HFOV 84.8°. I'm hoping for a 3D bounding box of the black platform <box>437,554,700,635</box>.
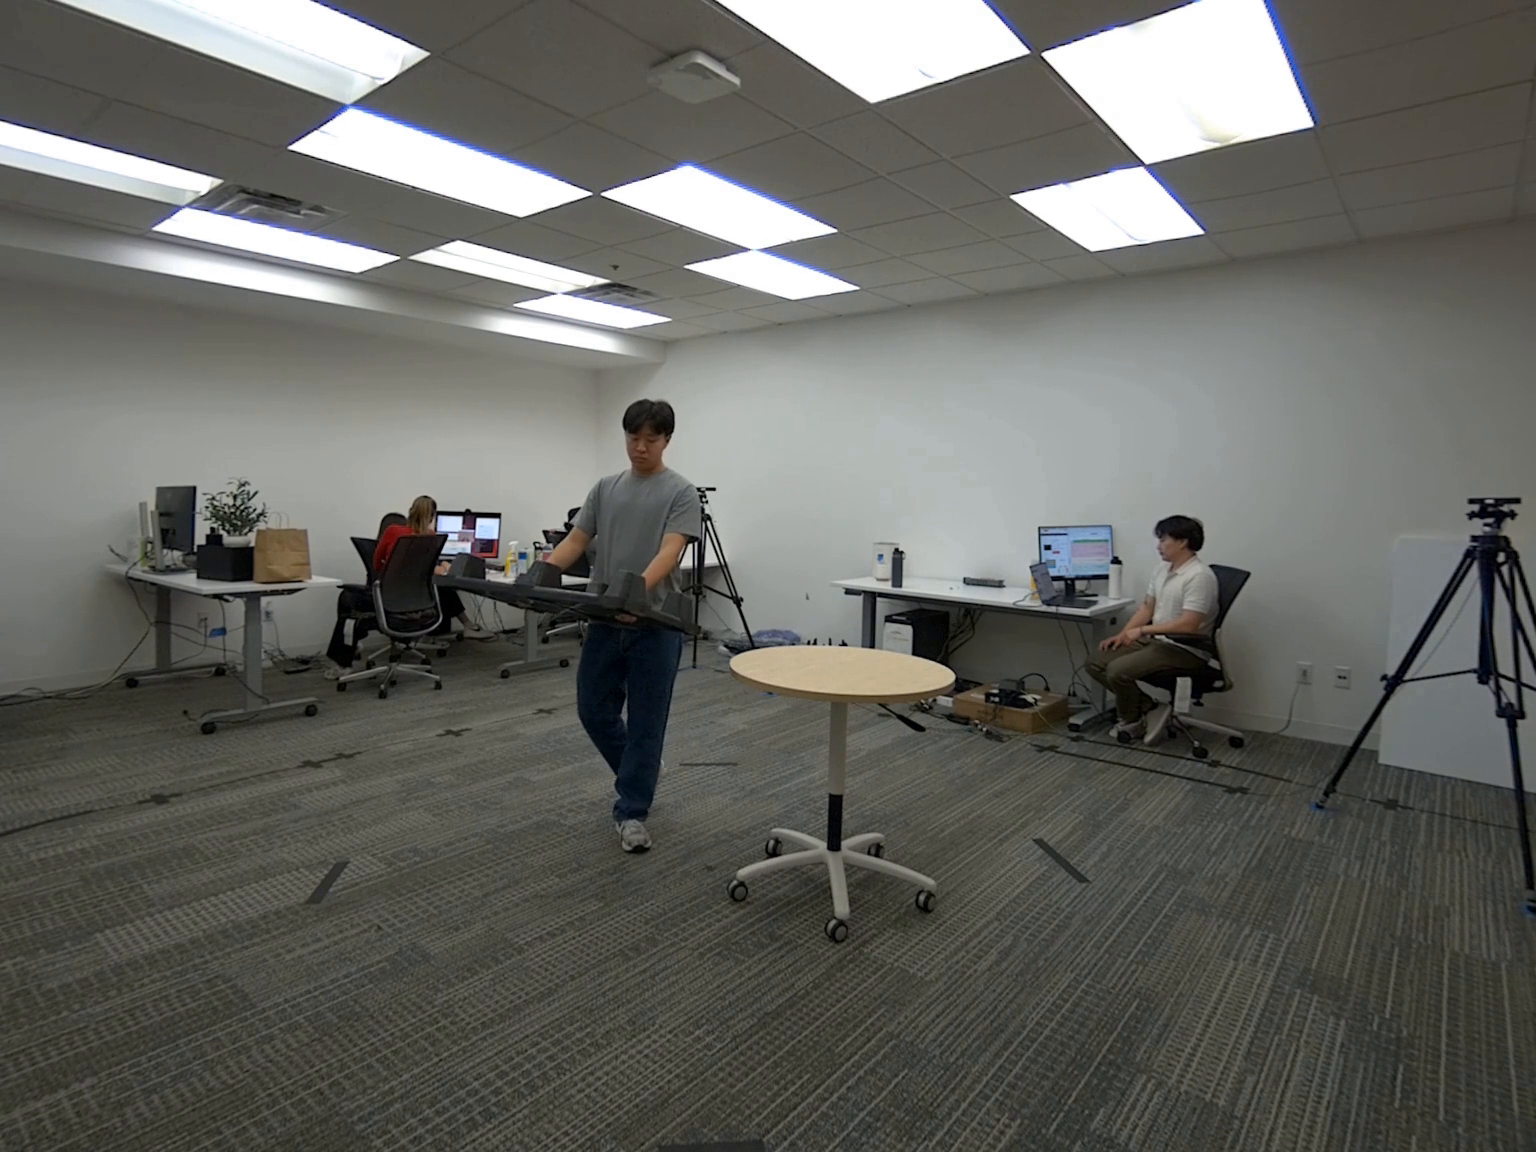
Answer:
[{"bbox_3d":[-0.716,0.062,3.096,0.826,0.144,0.586,6,-8,23],"label":"black platform"}]
